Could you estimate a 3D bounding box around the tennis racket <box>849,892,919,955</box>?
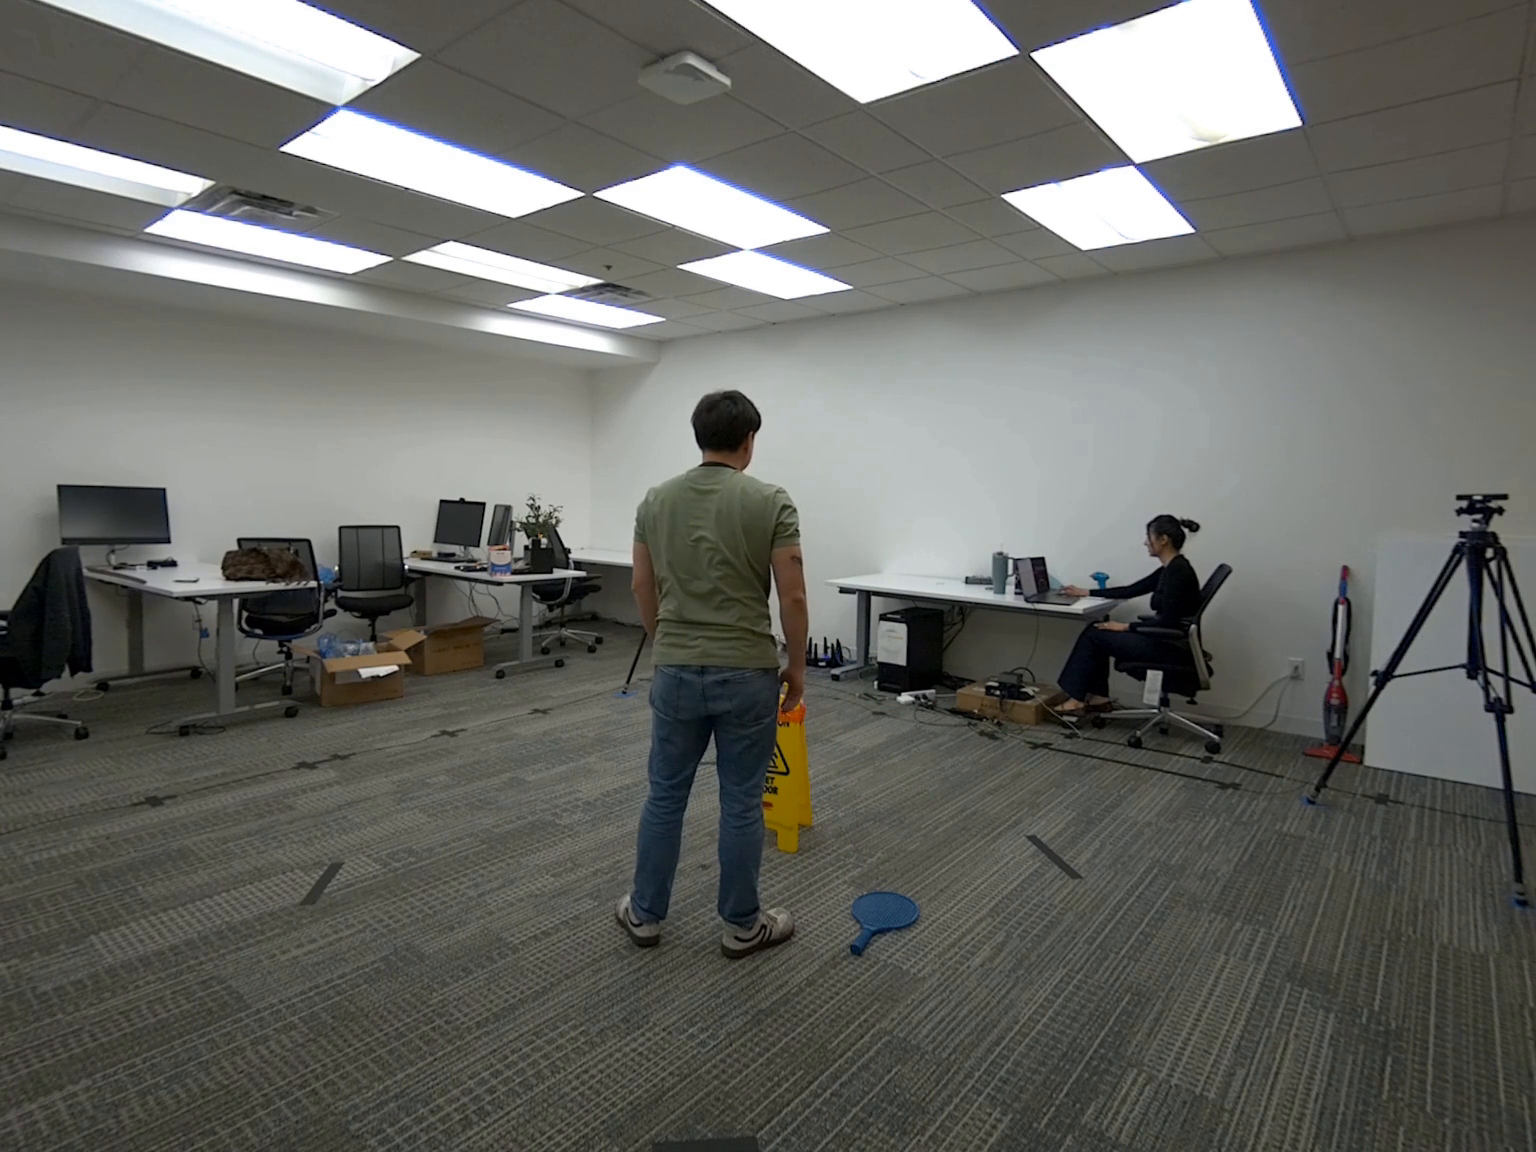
[{"bbox_3d":[0.341,1.098,2.732,0.220,0.032,0.422,3,4,27],"label":"tennis racket"}]
